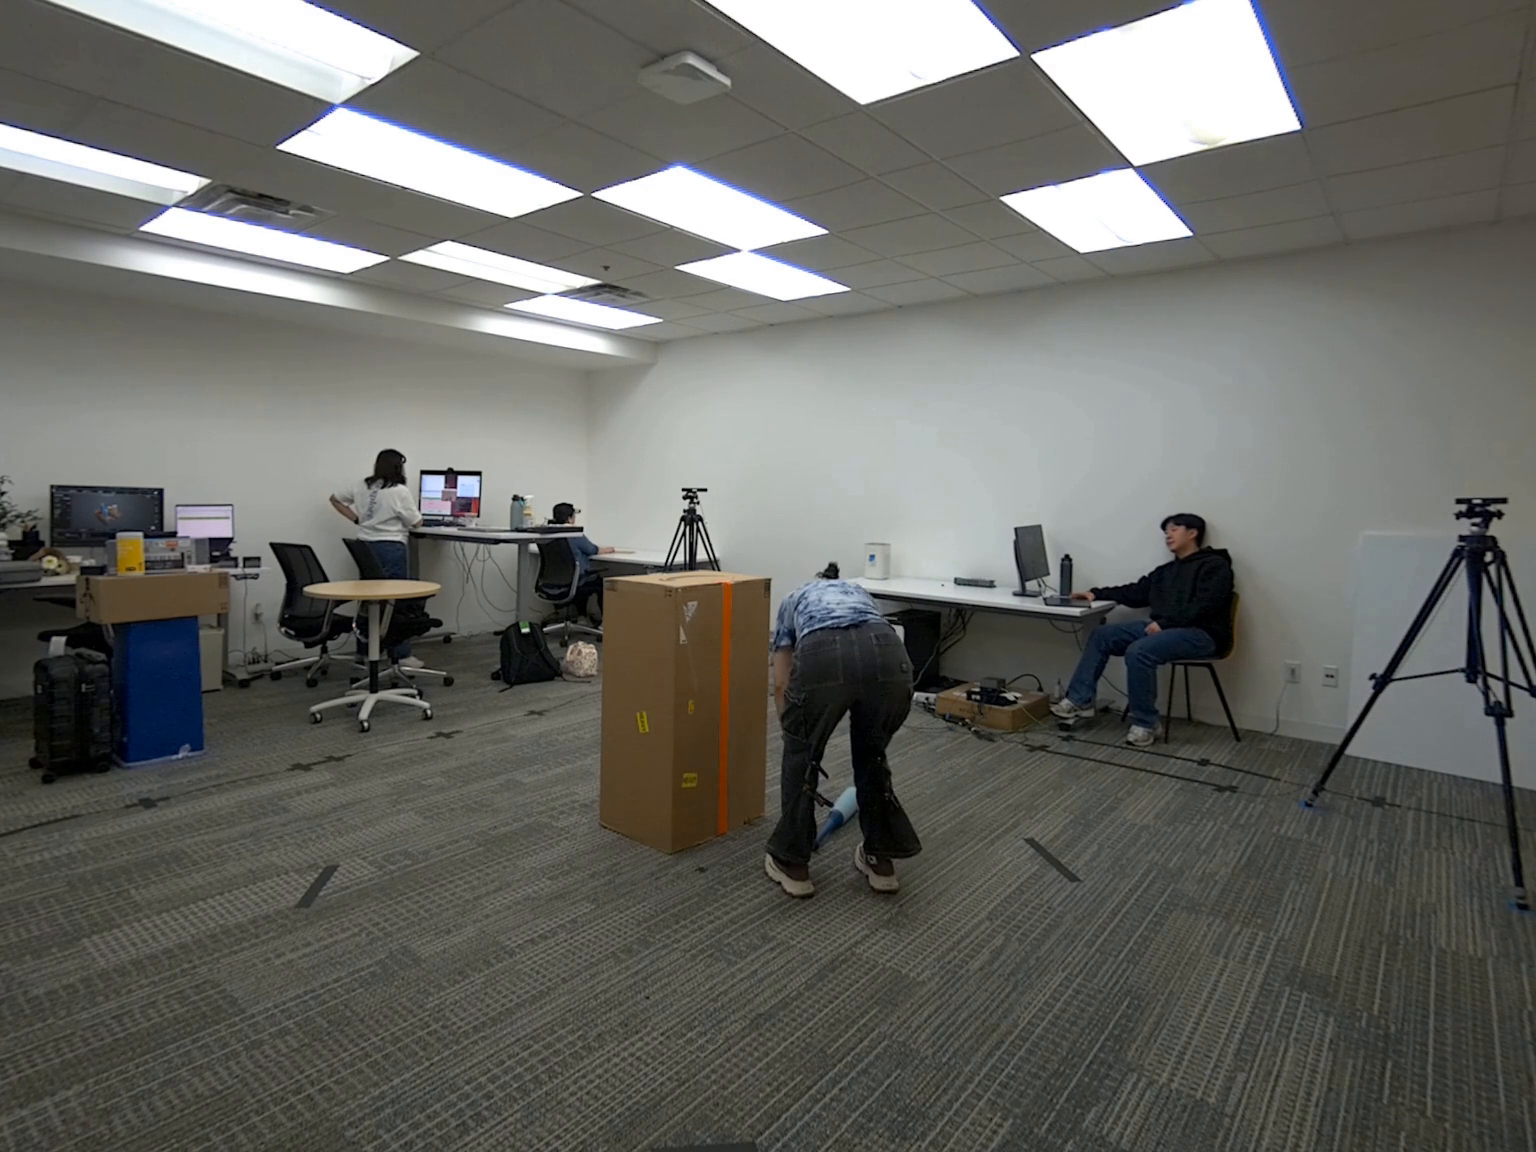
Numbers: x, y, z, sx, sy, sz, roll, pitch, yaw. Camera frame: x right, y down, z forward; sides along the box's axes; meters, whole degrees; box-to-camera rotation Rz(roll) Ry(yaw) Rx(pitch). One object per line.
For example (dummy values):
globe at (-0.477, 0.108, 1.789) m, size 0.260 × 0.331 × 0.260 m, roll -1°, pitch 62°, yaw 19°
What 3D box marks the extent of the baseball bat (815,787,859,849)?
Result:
baseball bat at (0.265, 1.015, 3.526) m, size 0.091 × 0.088 × 0.533 m, roll 2°, pitch 10°, yaw 24°
